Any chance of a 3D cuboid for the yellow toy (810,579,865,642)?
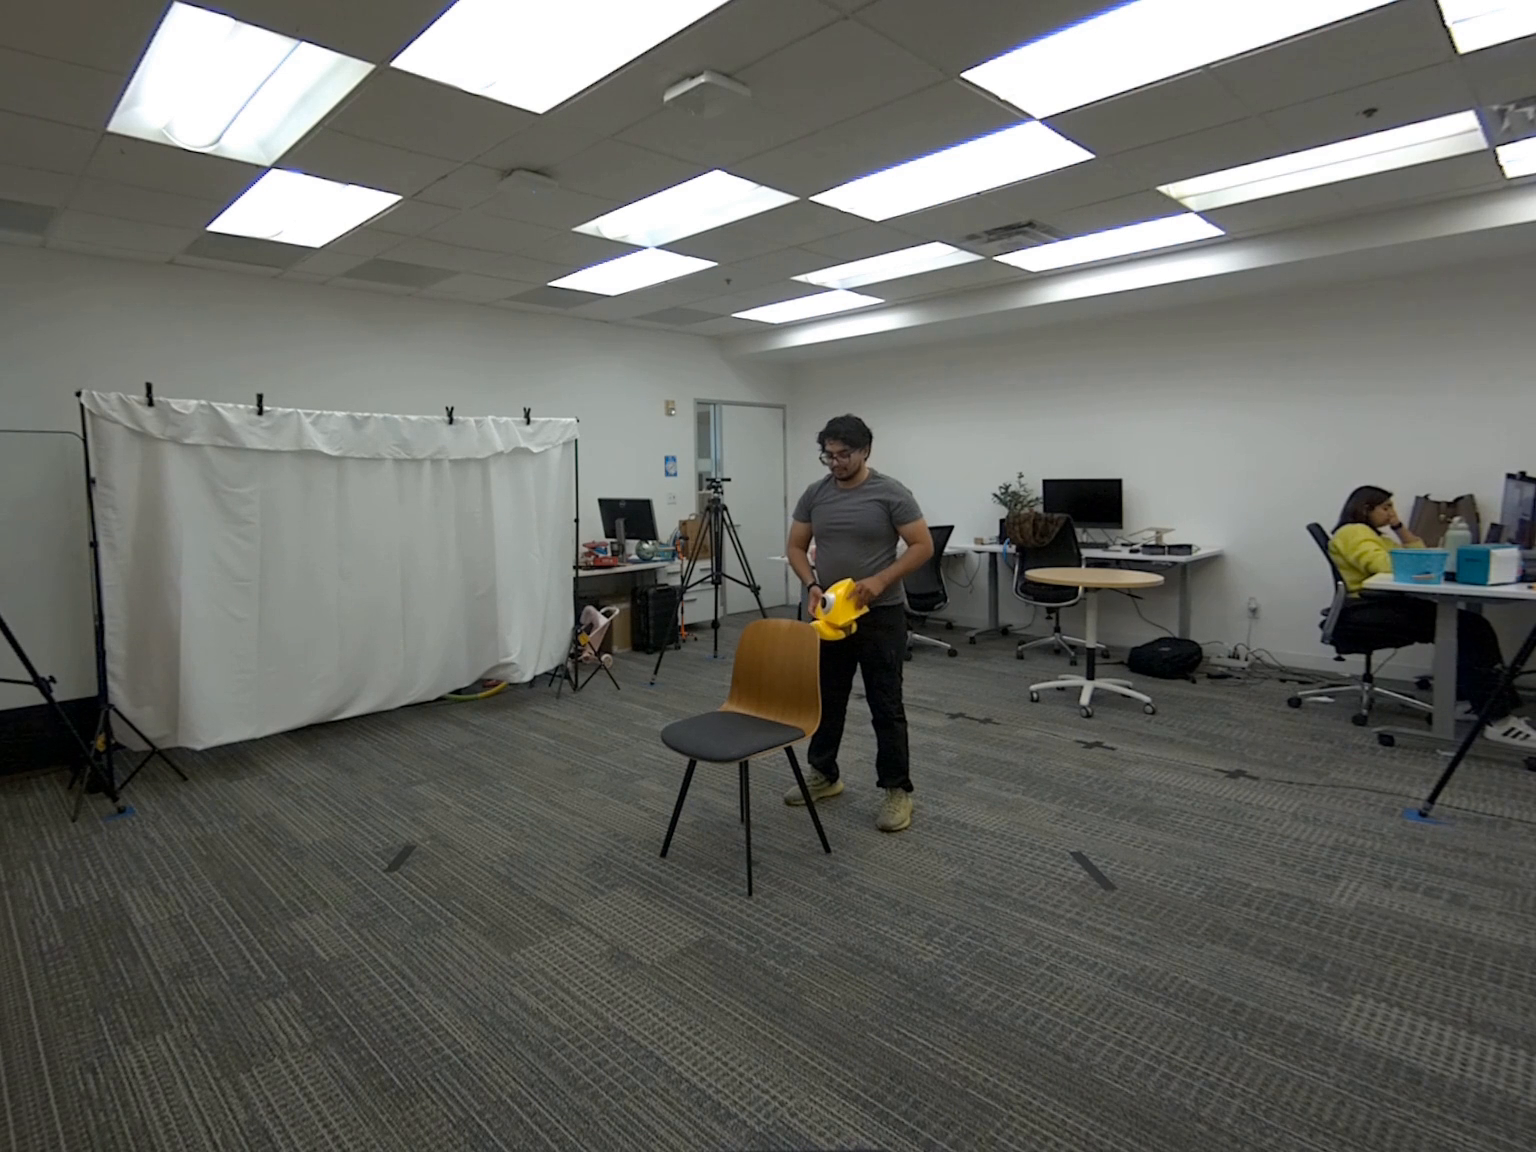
[{"bbox_3d":[0.258,0.105,3.312,0.200,0.227,0.201,16,22,38],"label":"yellow toy"}]
